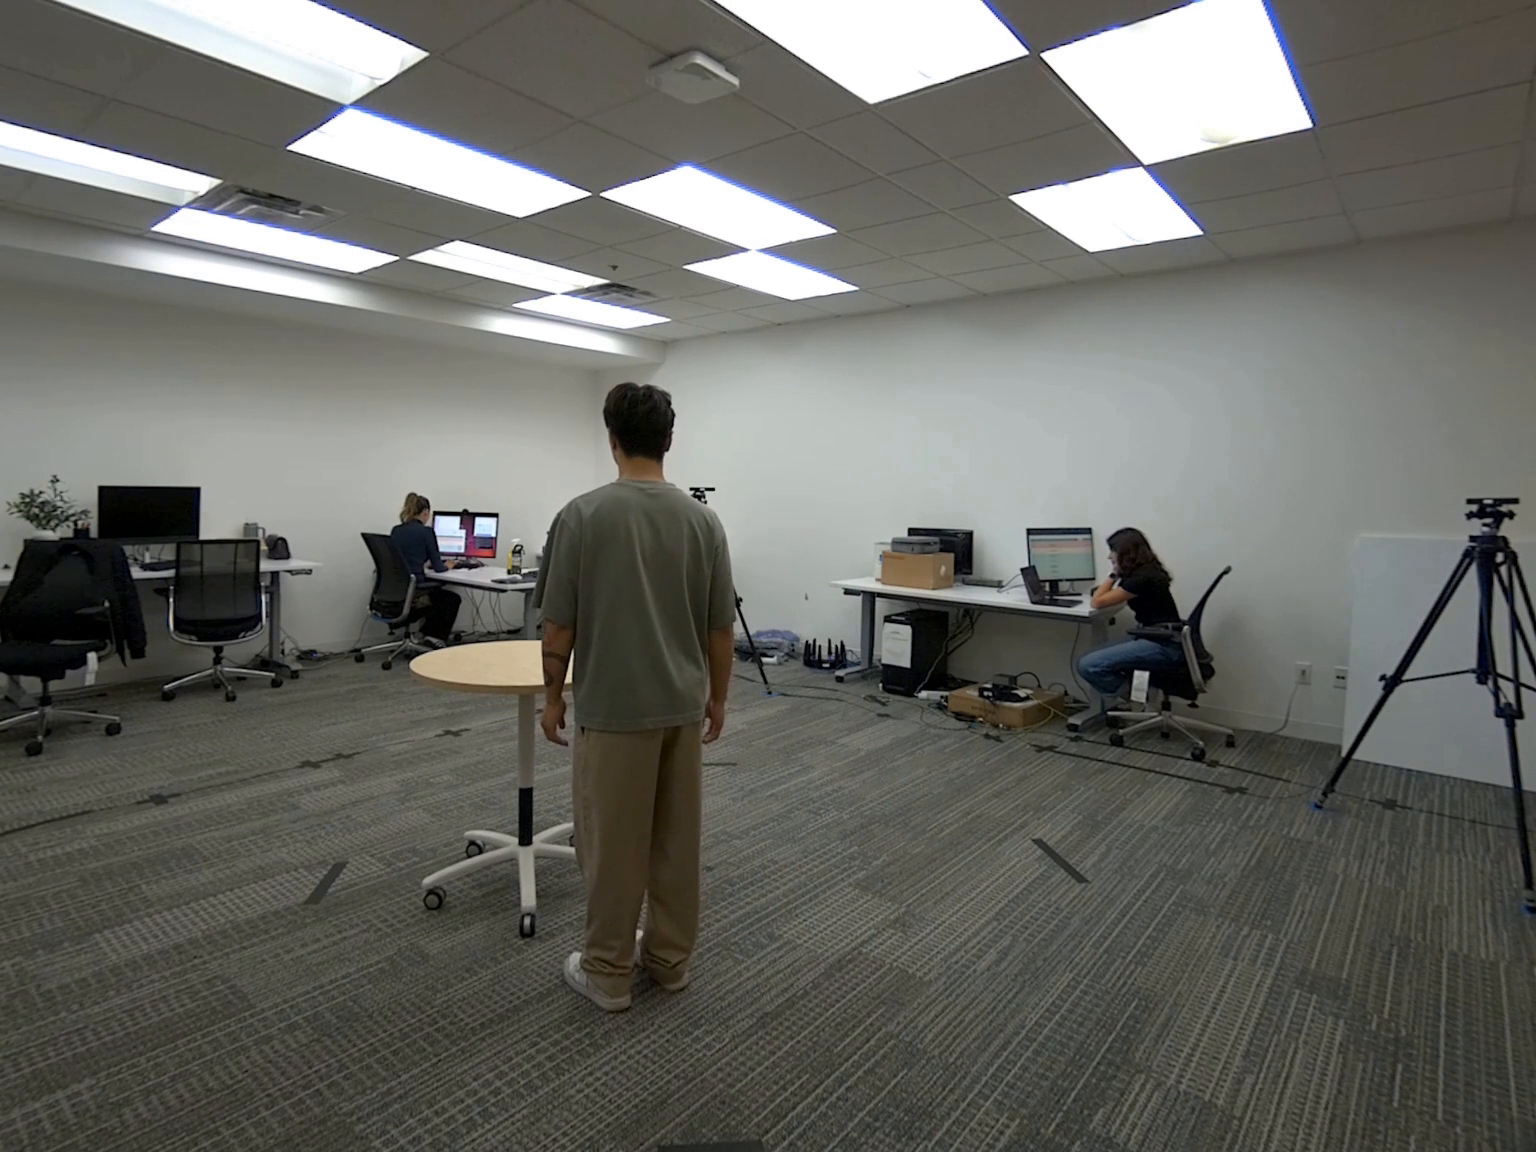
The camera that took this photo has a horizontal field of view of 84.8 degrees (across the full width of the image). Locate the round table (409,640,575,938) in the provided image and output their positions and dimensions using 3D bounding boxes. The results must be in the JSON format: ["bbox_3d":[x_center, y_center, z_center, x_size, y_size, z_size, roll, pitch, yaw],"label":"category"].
[{"bbox_3d":[-0.836,0.677,2.953,0.784,0.784,0.789,1,4,-2],"label":"round table"}]
